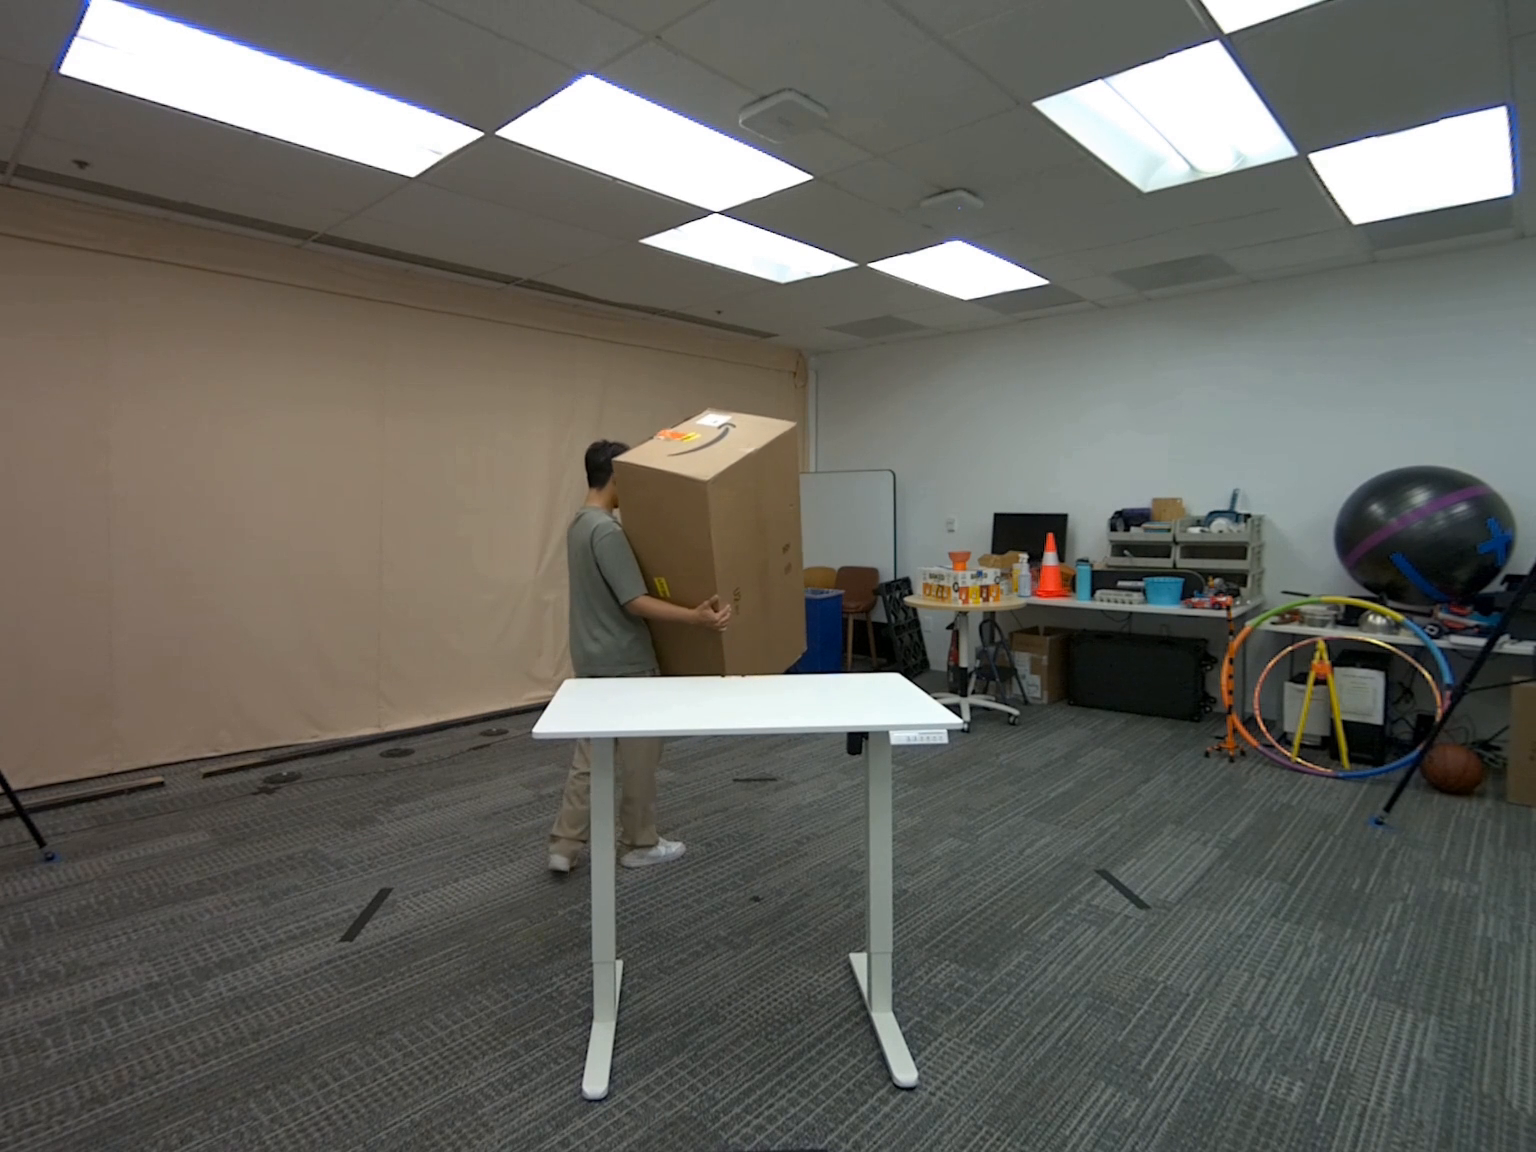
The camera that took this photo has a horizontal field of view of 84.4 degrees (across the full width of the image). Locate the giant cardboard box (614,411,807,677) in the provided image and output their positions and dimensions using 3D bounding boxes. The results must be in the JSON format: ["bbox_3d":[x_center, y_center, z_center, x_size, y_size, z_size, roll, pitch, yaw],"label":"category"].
[{"bbox_3d":[-0.191,-0.044,3.272,0.440,1.008,0.569,15,34,30],"label":"giant cardboard box"}]
